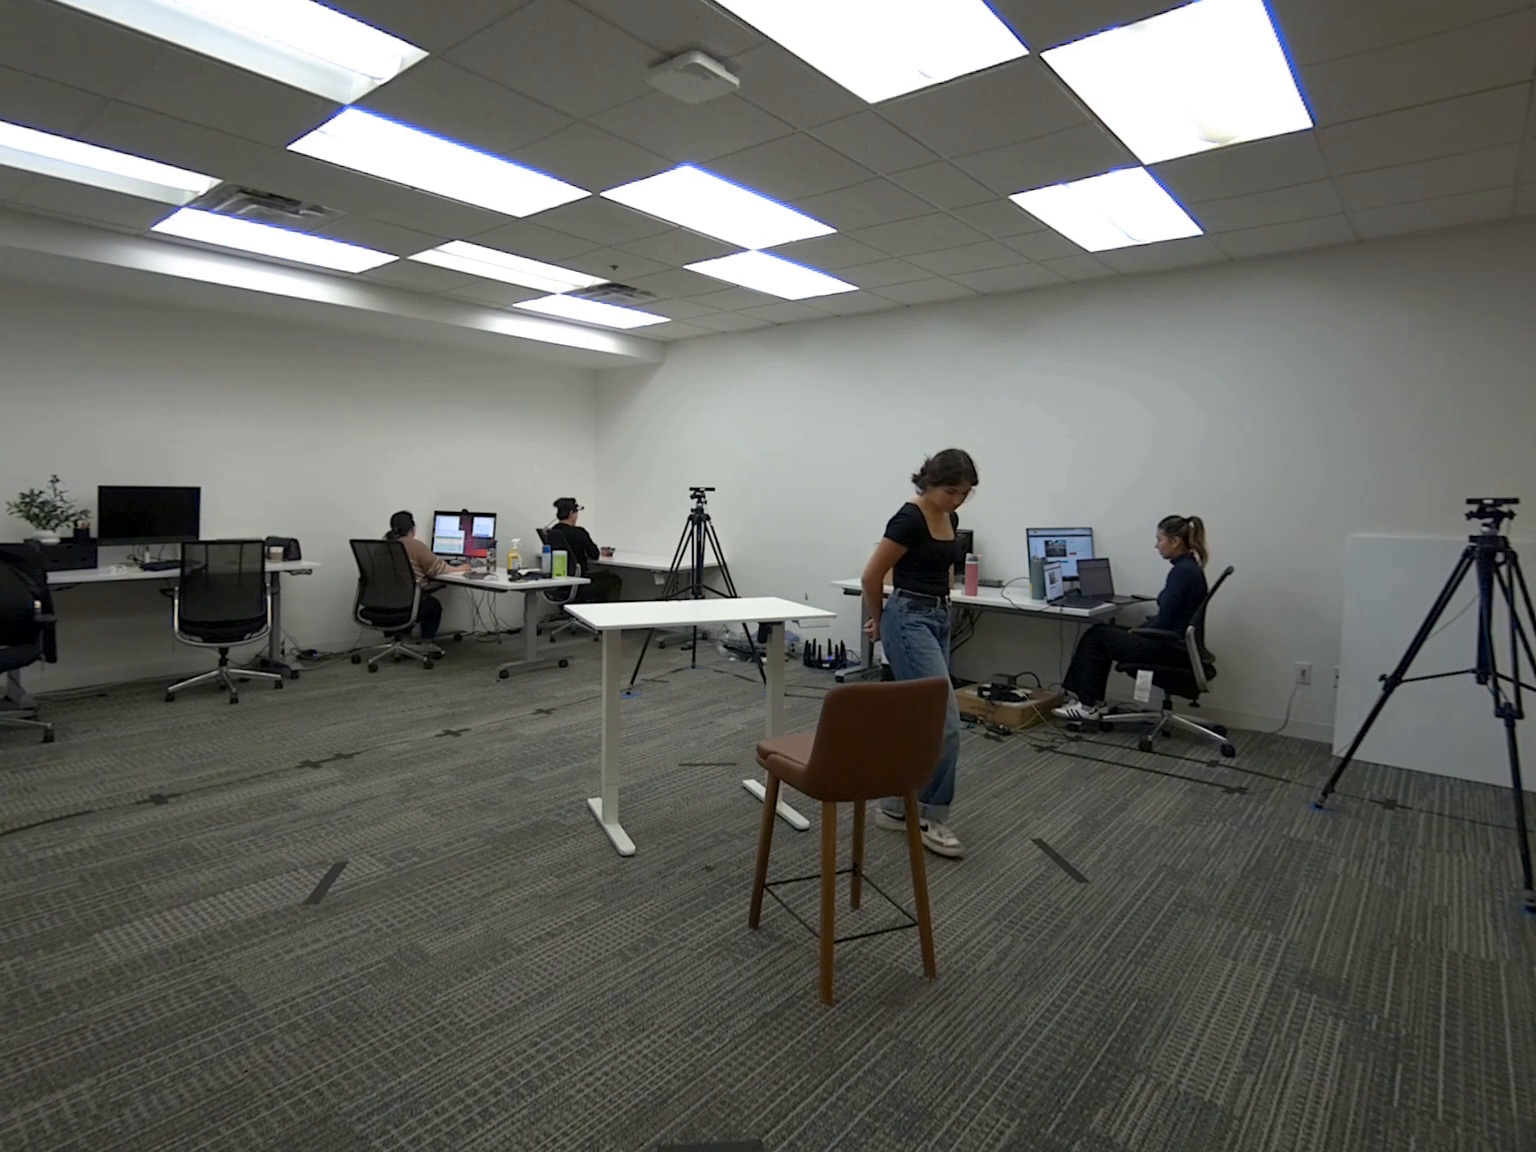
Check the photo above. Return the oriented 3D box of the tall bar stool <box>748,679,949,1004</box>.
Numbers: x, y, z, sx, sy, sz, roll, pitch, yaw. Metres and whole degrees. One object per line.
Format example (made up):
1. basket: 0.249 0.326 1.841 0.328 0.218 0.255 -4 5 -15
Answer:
1. tall bar stool: 0.226 0.696 2.553 0.445 0.886 0.481 0 5 -26
